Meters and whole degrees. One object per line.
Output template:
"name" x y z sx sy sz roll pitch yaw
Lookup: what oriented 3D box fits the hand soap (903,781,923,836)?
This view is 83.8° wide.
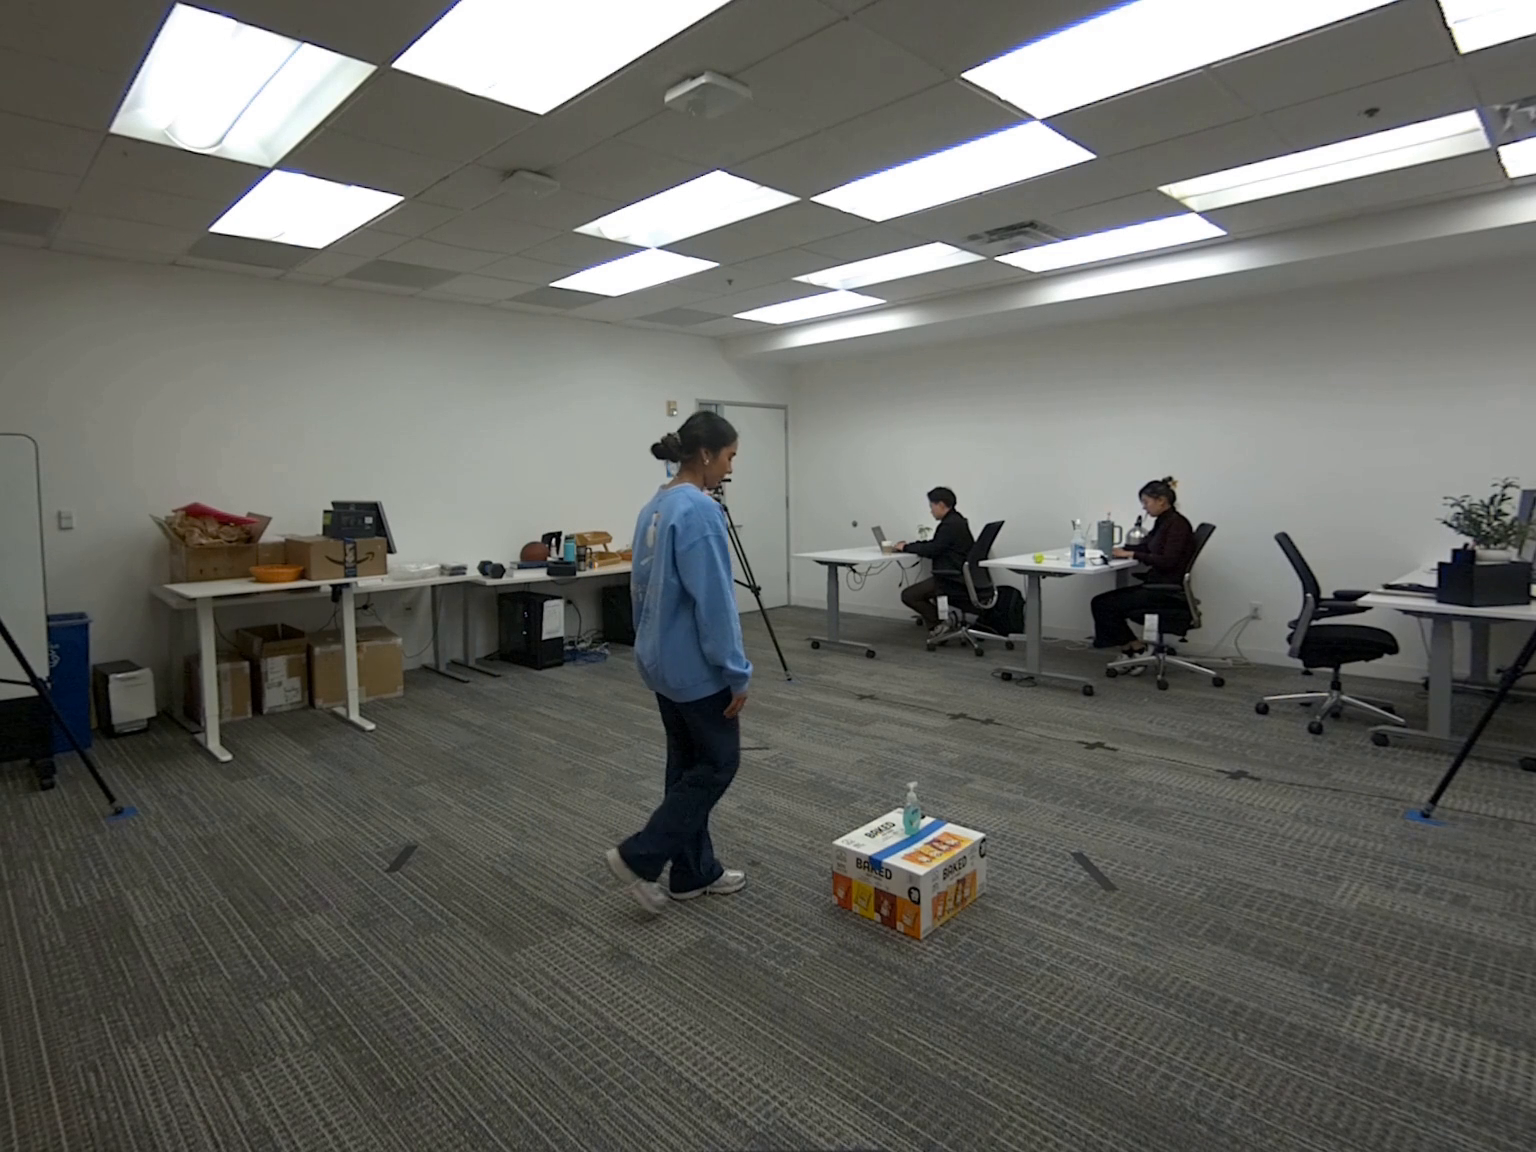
"hand soap" 0.481 0.772 2.882 0.045 0.167 0.082 6 10 42
